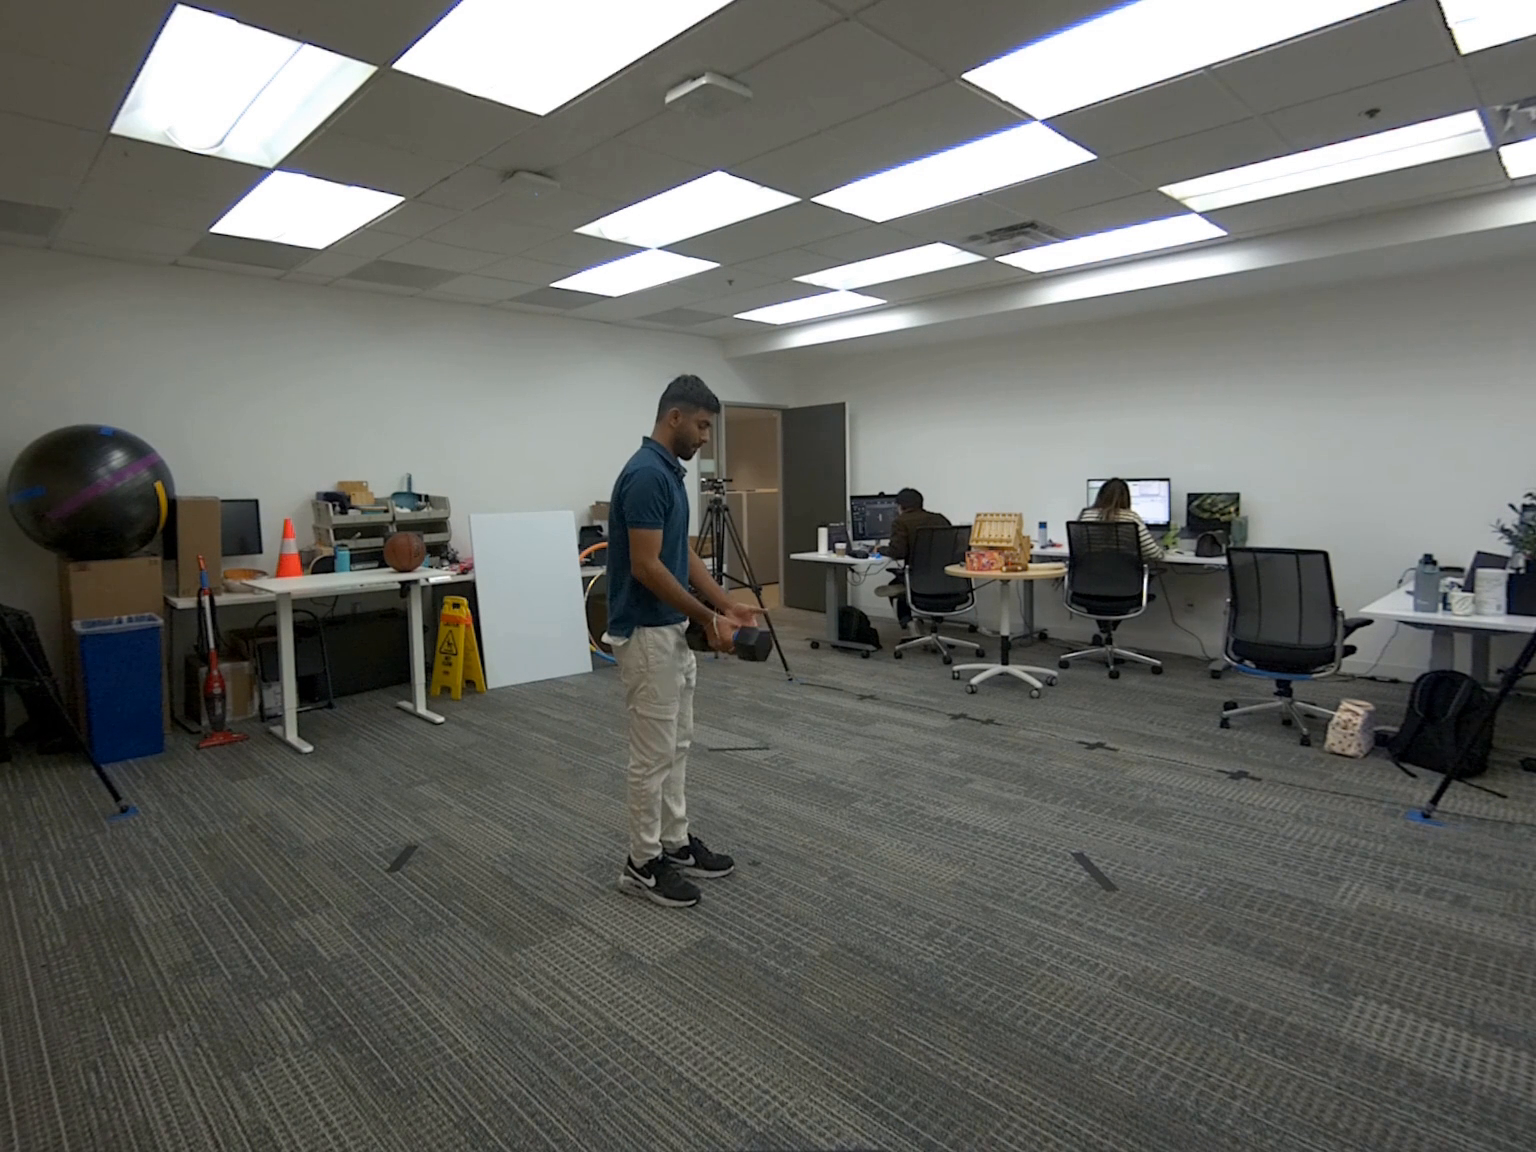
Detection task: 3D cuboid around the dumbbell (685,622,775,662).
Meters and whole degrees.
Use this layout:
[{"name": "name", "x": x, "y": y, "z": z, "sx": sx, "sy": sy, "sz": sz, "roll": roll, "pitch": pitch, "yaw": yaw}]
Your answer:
[{"name": "dumbbell", "x": -0.145, "y": 0.206, "z": 2.730, "sx": 0.302, "sy": 0.109, "sz": 0.119, "roll": 5, "pitch": -1, "yaw": 40}]
